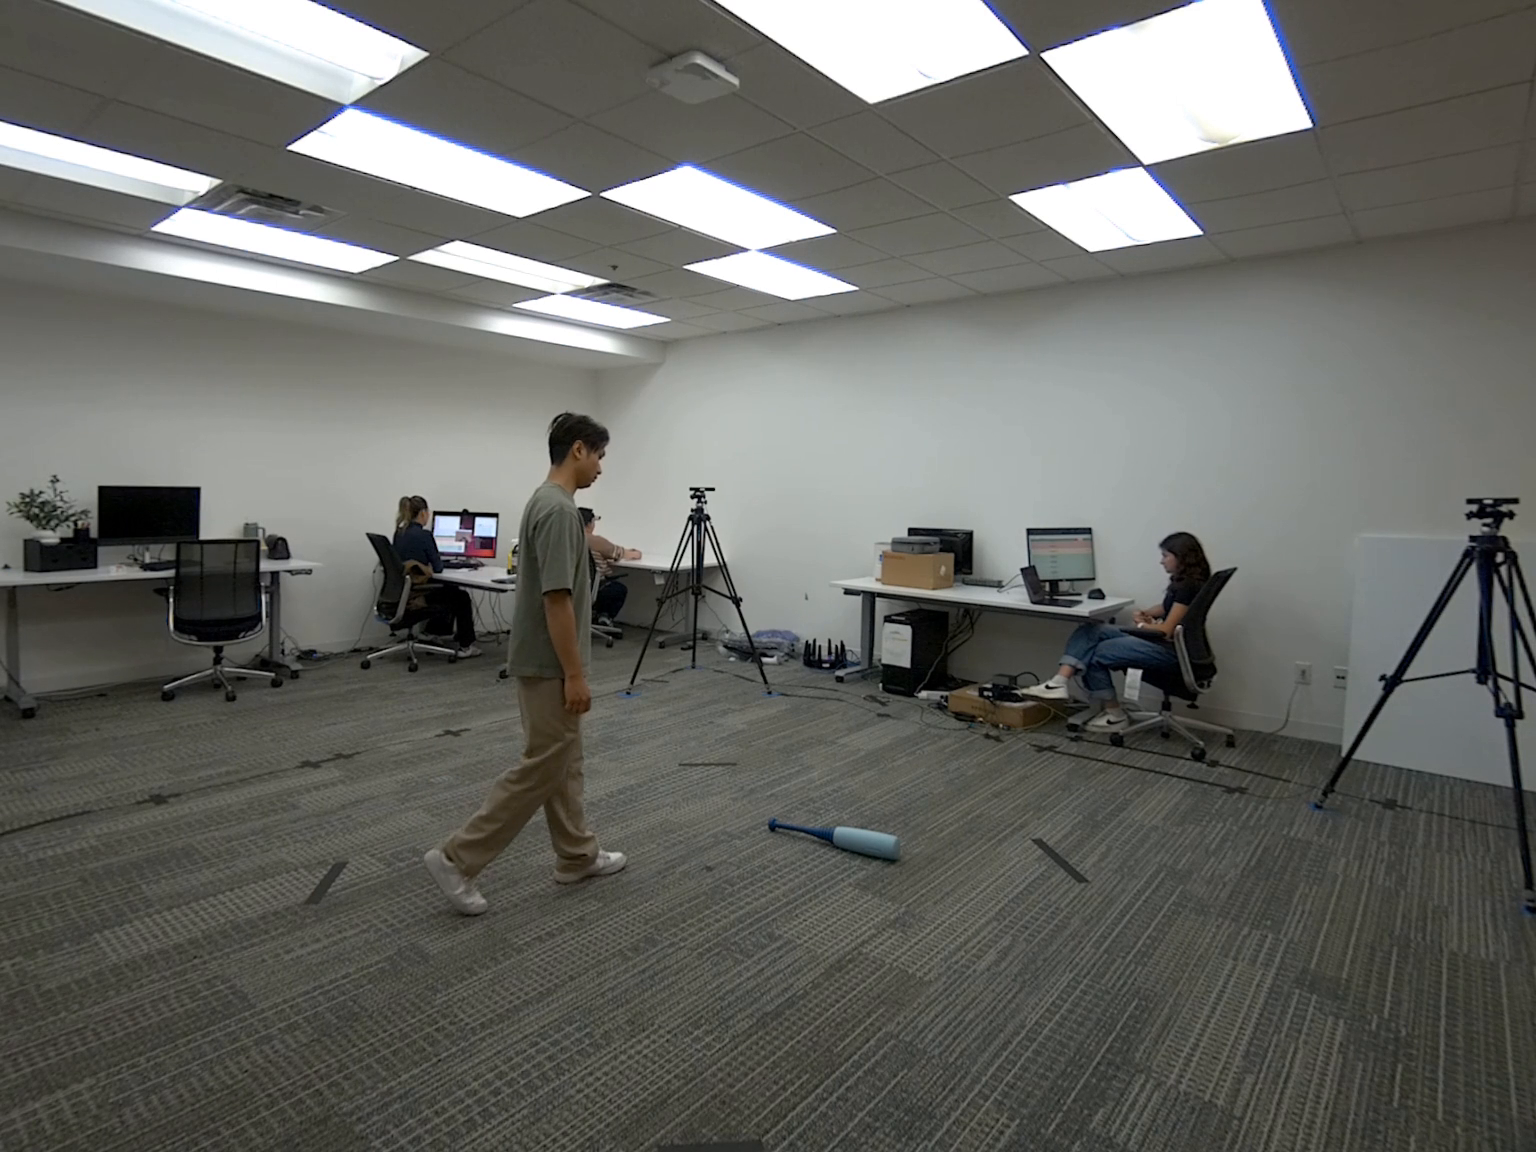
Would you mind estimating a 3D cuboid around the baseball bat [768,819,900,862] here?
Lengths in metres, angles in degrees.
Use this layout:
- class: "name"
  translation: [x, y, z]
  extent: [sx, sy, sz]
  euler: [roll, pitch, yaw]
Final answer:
- class: "baseball bat"
  translation: [0.246, 1.018, 3.342]
  extent: [0.558, 0.089, 0.087]
  euler: [2, 4, 29]
